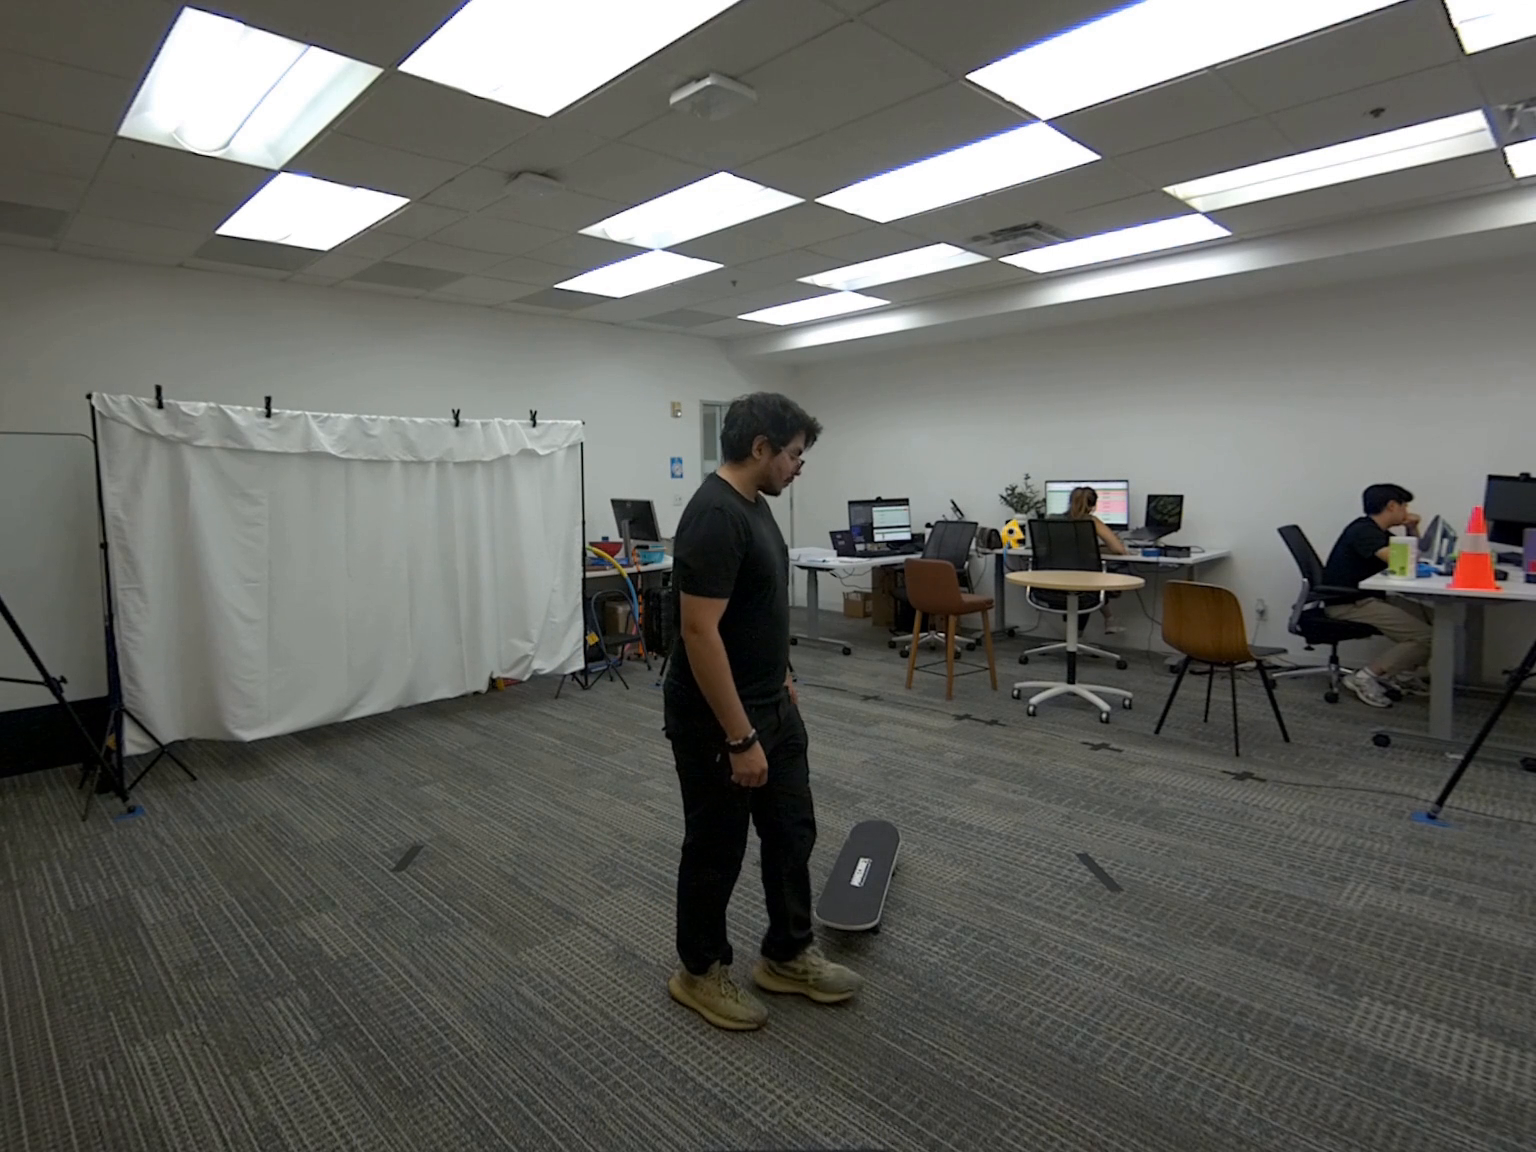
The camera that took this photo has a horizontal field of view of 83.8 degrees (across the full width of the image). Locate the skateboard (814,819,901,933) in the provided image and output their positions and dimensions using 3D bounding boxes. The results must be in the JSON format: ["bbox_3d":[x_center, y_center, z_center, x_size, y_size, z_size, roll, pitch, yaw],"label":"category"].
[{"bbox_3d":[0.314,1.011,2.845,0.196,0.110,0.777,0,7,15],"label":"skateboard"}]
